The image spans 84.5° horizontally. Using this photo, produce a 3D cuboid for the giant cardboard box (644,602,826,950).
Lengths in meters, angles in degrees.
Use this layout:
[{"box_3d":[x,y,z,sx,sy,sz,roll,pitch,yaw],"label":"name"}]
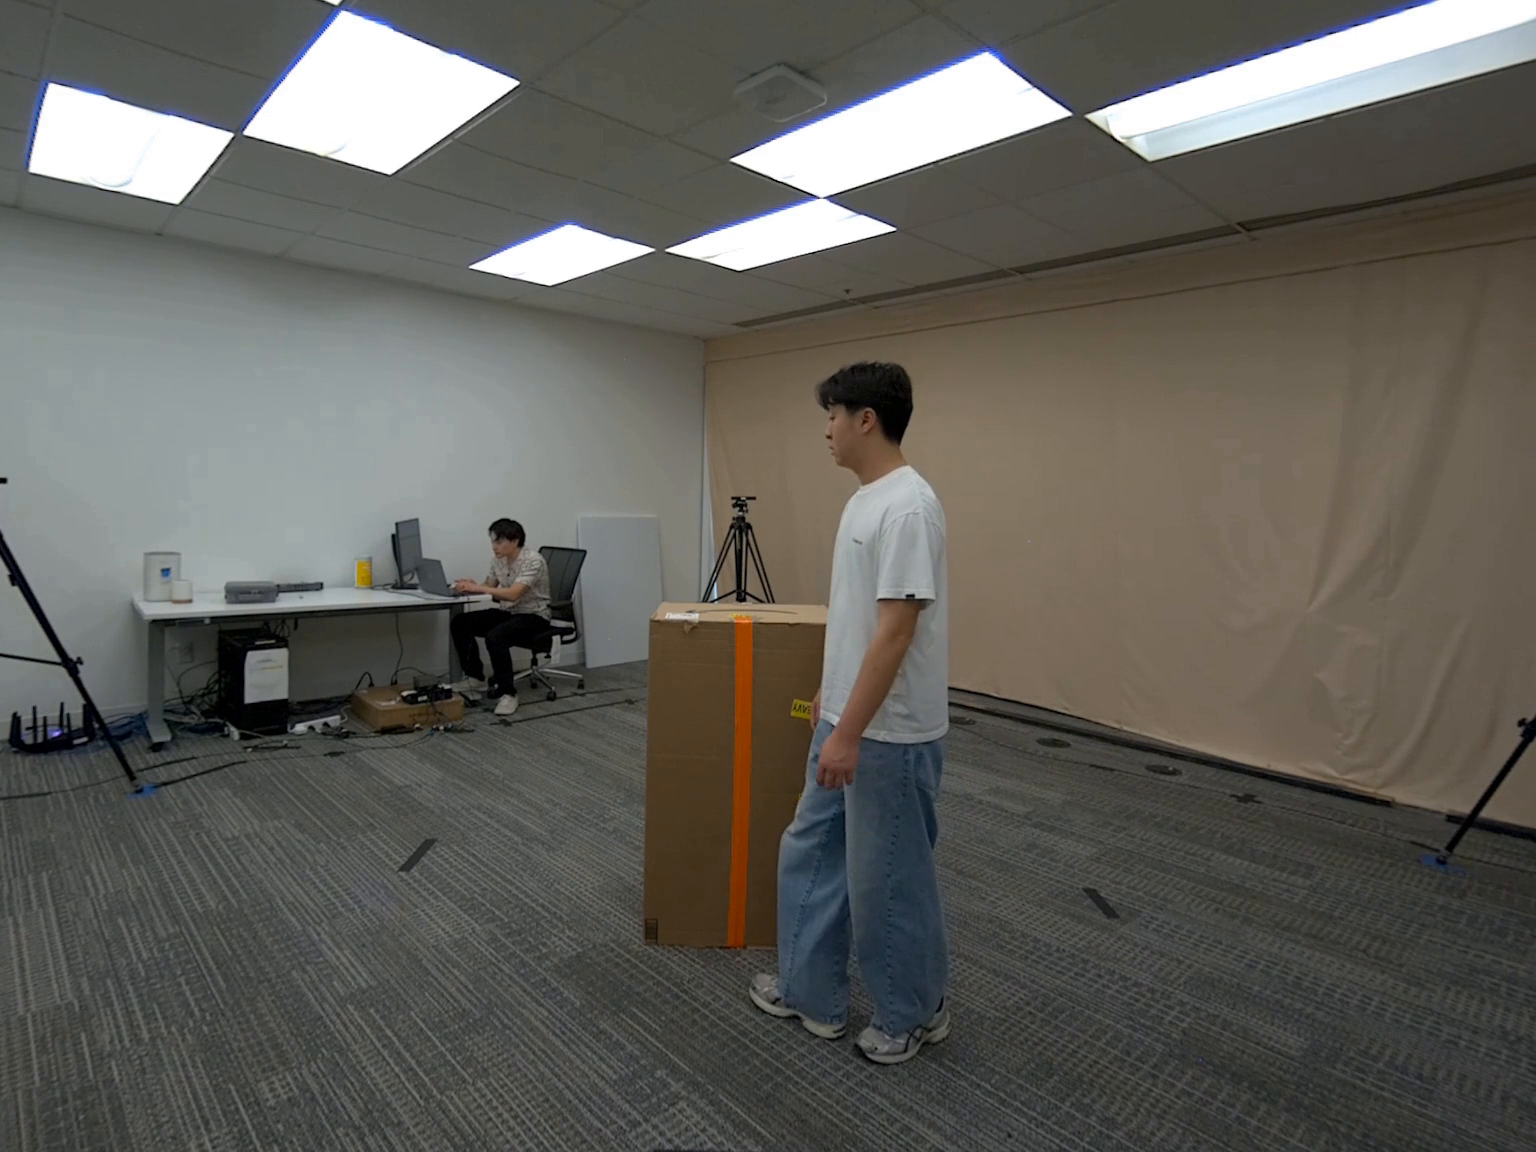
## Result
[{"box_3d":[-0.105,0.627,2.785,0.578,1.023,0.427,2,3,0],"label":"giant cardboard box"}]
